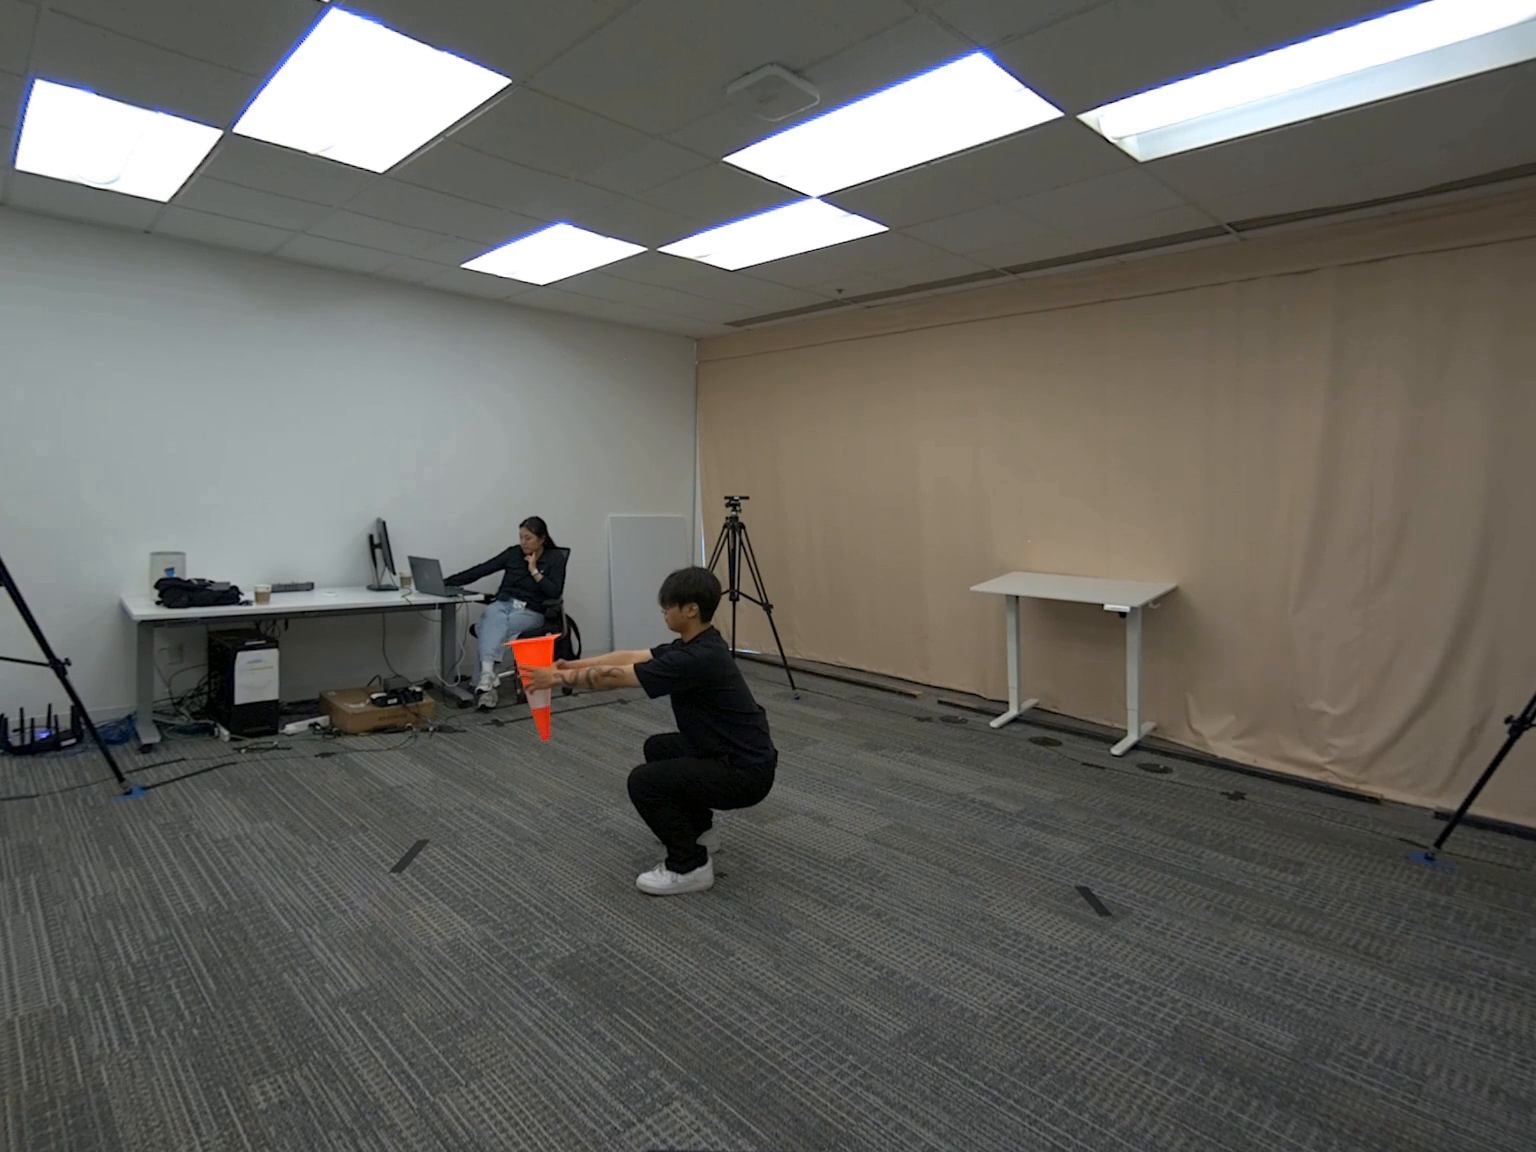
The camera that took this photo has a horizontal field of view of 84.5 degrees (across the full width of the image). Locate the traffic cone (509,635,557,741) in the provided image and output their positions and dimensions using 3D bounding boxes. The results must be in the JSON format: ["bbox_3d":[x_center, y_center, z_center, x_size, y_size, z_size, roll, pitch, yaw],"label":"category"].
[{"bbox_3d":[-0.871,0.429,3.185,0.203,0.384,0.205,-8,0,-4],"label":"traffic cone"}]
